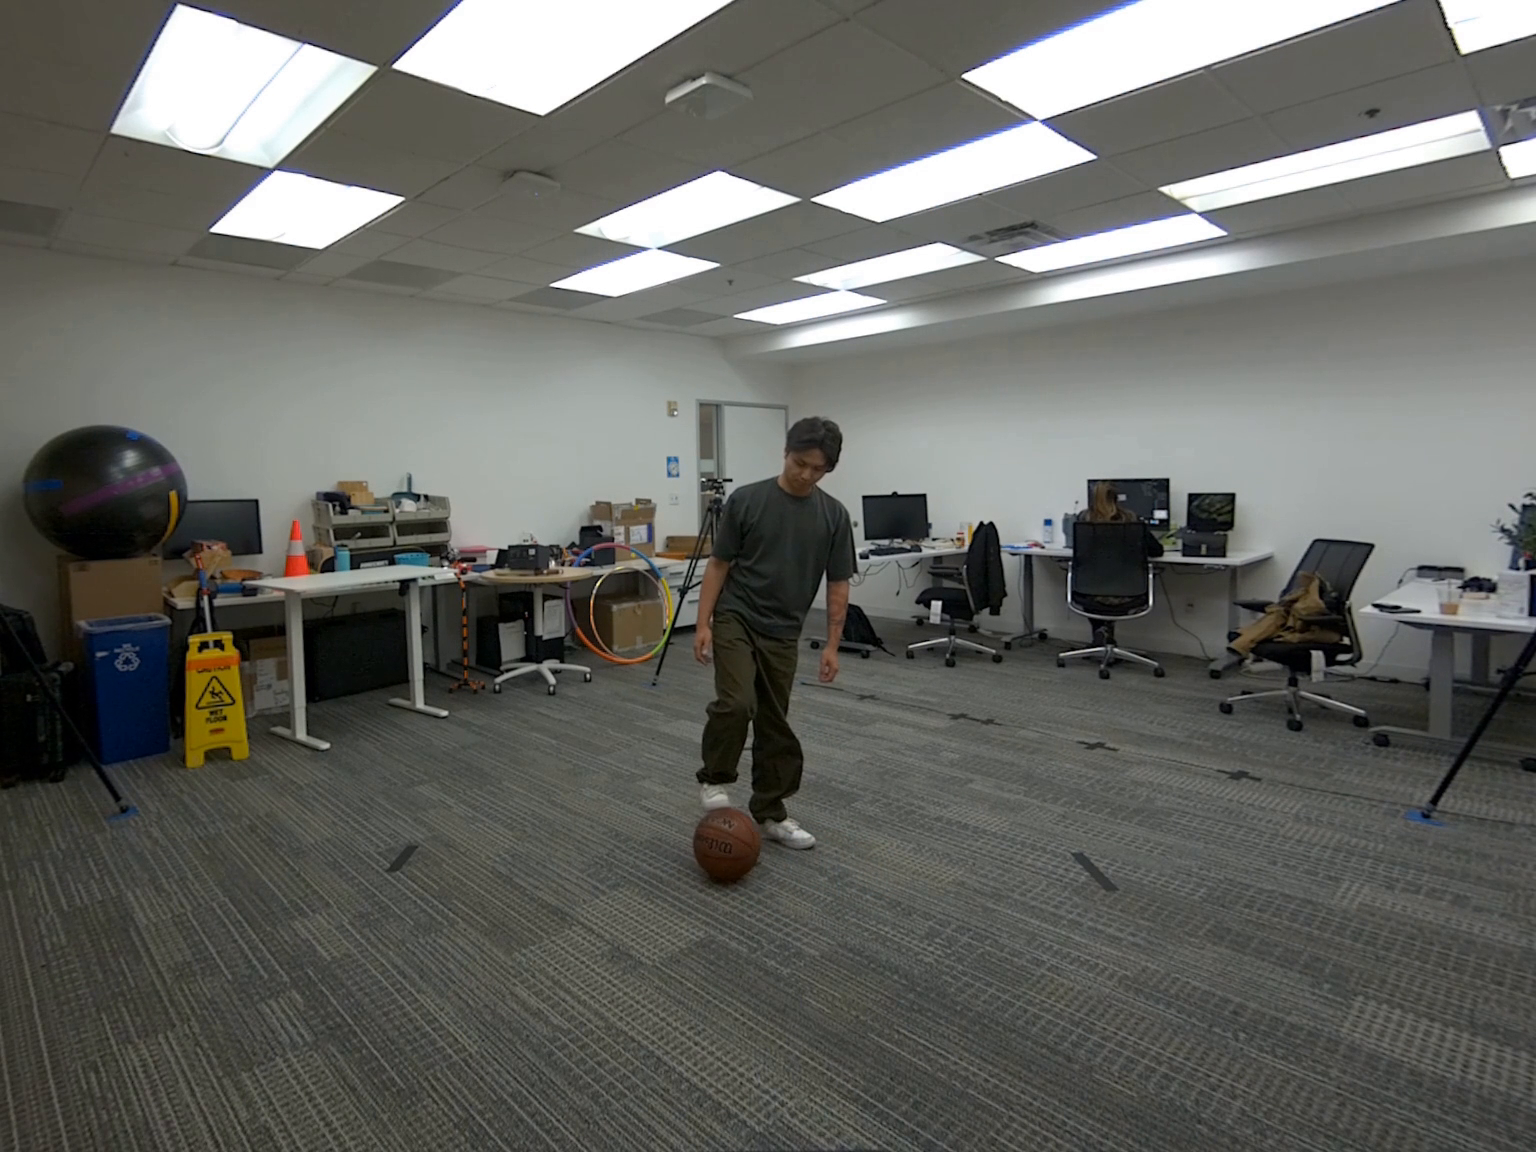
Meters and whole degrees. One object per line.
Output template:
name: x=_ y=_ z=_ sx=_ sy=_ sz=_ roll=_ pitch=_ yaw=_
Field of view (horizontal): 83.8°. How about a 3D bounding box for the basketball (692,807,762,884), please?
basketball: x=-0.134 y=0.937 z=3.000 sx=0.236 sy=0.235 sz=0.237 roll=-1 pitch=5 yaw=-2
